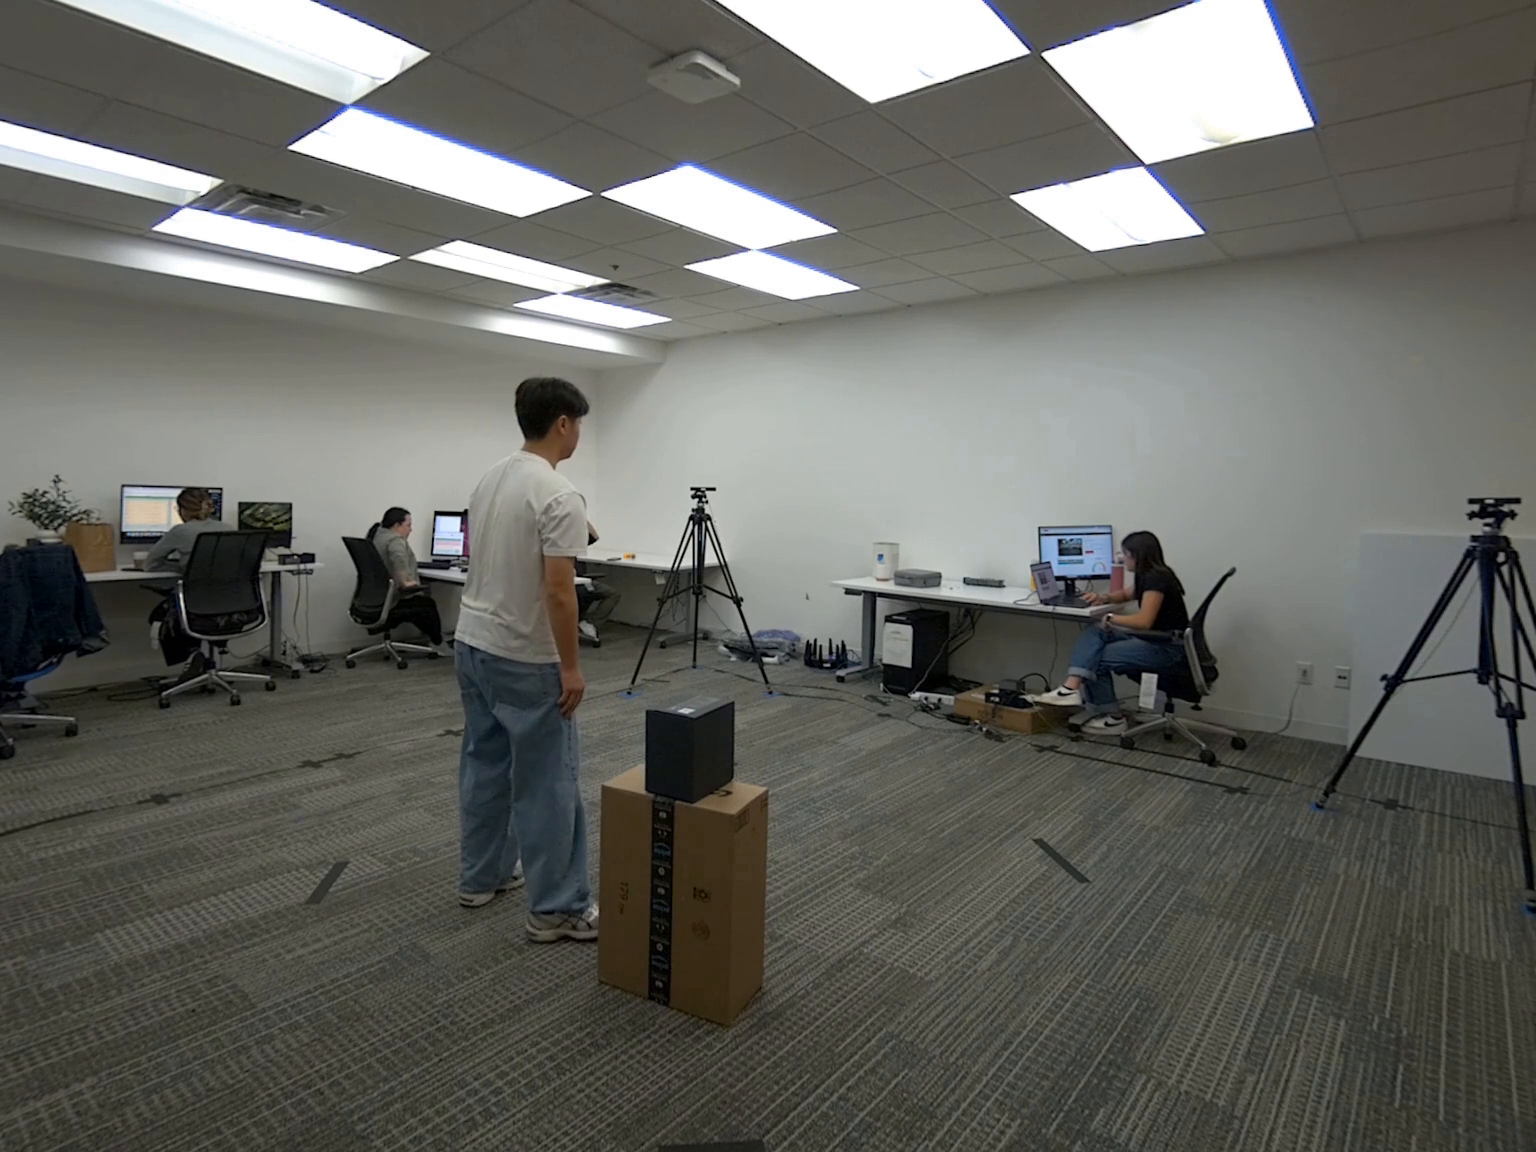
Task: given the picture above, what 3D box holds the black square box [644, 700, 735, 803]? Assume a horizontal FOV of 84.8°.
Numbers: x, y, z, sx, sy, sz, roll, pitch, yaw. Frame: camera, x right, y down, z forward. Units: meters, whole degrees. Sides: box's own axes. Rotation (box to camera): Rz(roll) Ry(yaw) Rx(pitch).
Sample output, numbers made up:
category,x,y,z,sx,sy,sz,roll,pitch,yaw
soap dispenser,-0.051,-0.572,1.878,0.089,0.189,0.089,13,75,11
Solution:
category,x,y,z,sx,sy,sz,roll,pitch,yaw
black square box,-0.221,0.459,2.345,0.160,0.227,0.212,3,6,28
